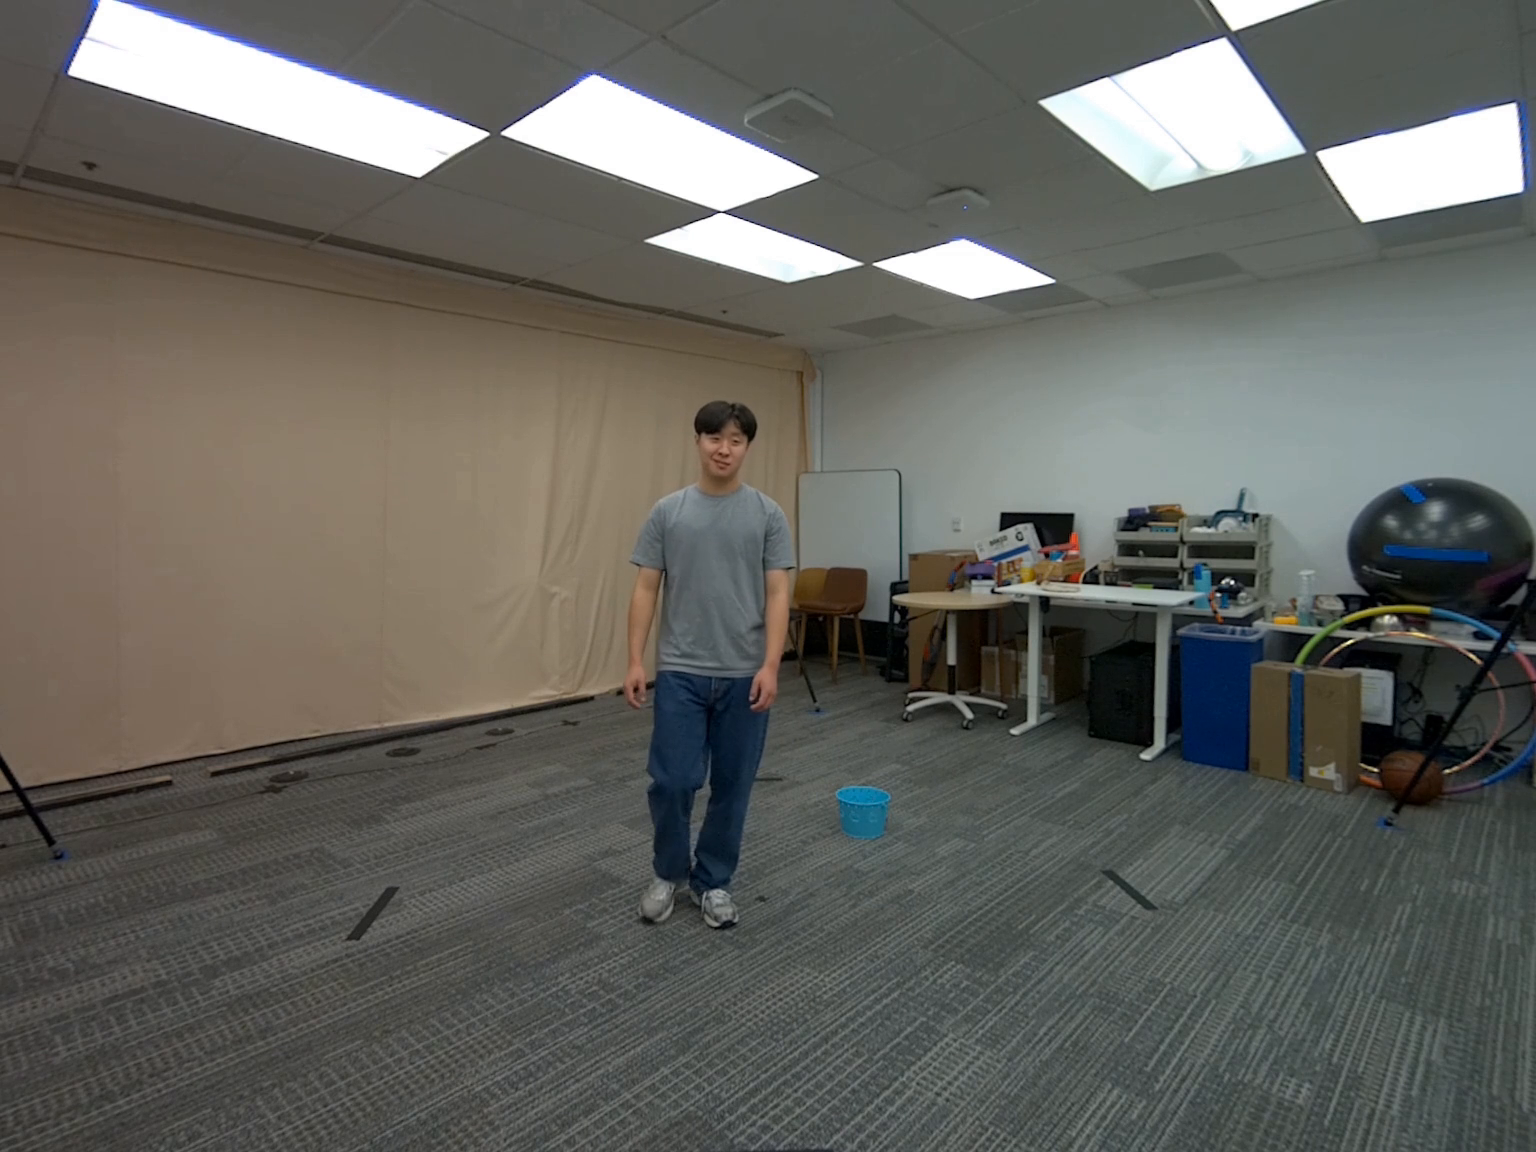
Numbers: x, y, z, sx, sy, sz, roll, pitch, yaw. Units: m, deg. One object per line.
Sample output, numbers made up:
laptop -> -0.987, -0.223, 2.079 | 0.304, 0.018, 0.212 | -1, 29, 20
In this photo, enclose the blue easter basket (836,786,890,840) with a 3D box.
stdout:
blue easter basket -> 0.414, 1.010, 3.608 | 0.243, 0.155, 0.244 | -1, 5, -2
